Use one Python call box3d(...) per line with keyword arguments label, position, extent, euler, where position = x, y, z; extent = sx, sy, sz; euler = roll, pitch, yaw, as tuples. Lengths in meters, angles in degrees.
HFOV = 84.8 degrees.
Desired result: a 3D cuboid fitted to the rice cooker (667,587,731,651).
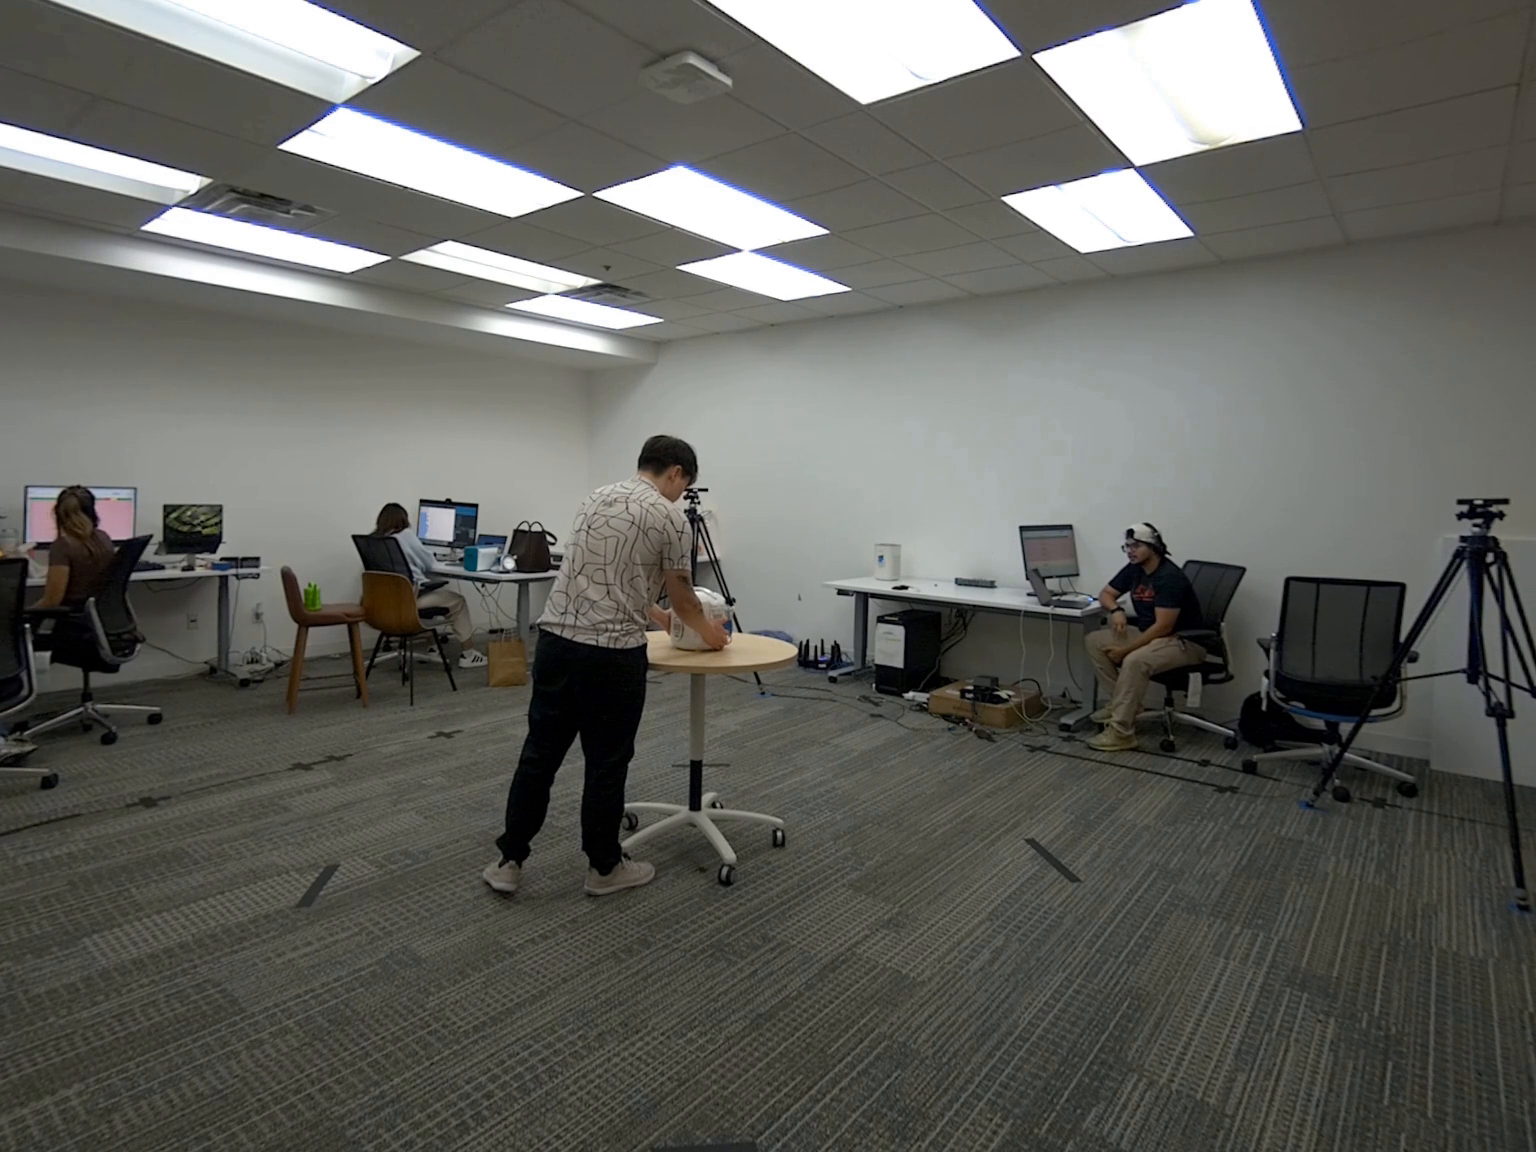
box3d(label="rice cooker", position=(-0.275, 0.156, 3.263), extent=(0.228, 0.232, 0.211), euler=(5, 5, 42))
